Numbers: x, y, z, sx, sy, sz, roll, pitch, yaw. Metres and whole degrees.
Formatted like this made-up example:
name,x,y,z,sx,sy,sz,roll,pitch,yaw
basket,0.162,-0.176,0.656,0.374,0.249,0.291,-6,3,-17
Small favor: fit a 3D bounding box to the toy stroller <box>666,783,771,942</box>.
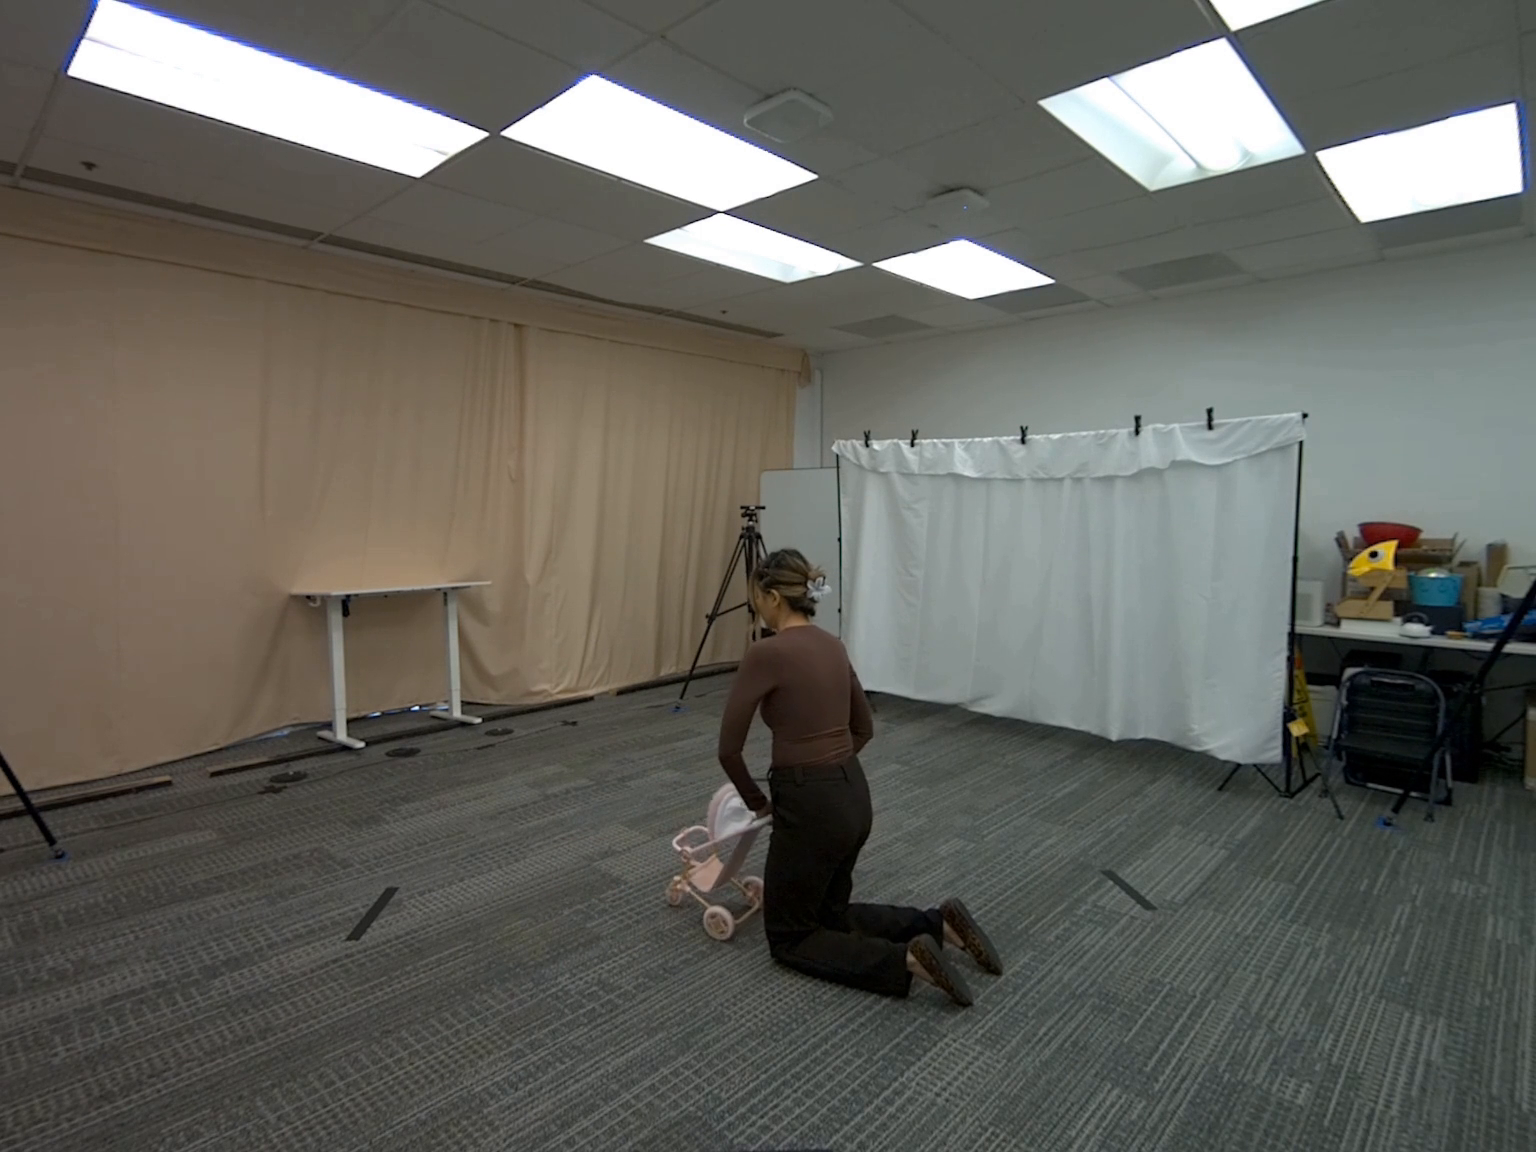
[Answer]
name,x,y,z,sx,sy,sz,roll,pitch,yaw
toy stroller,-0.155,0.933,2.837,0.352,0.533,0.273,21,14,30
